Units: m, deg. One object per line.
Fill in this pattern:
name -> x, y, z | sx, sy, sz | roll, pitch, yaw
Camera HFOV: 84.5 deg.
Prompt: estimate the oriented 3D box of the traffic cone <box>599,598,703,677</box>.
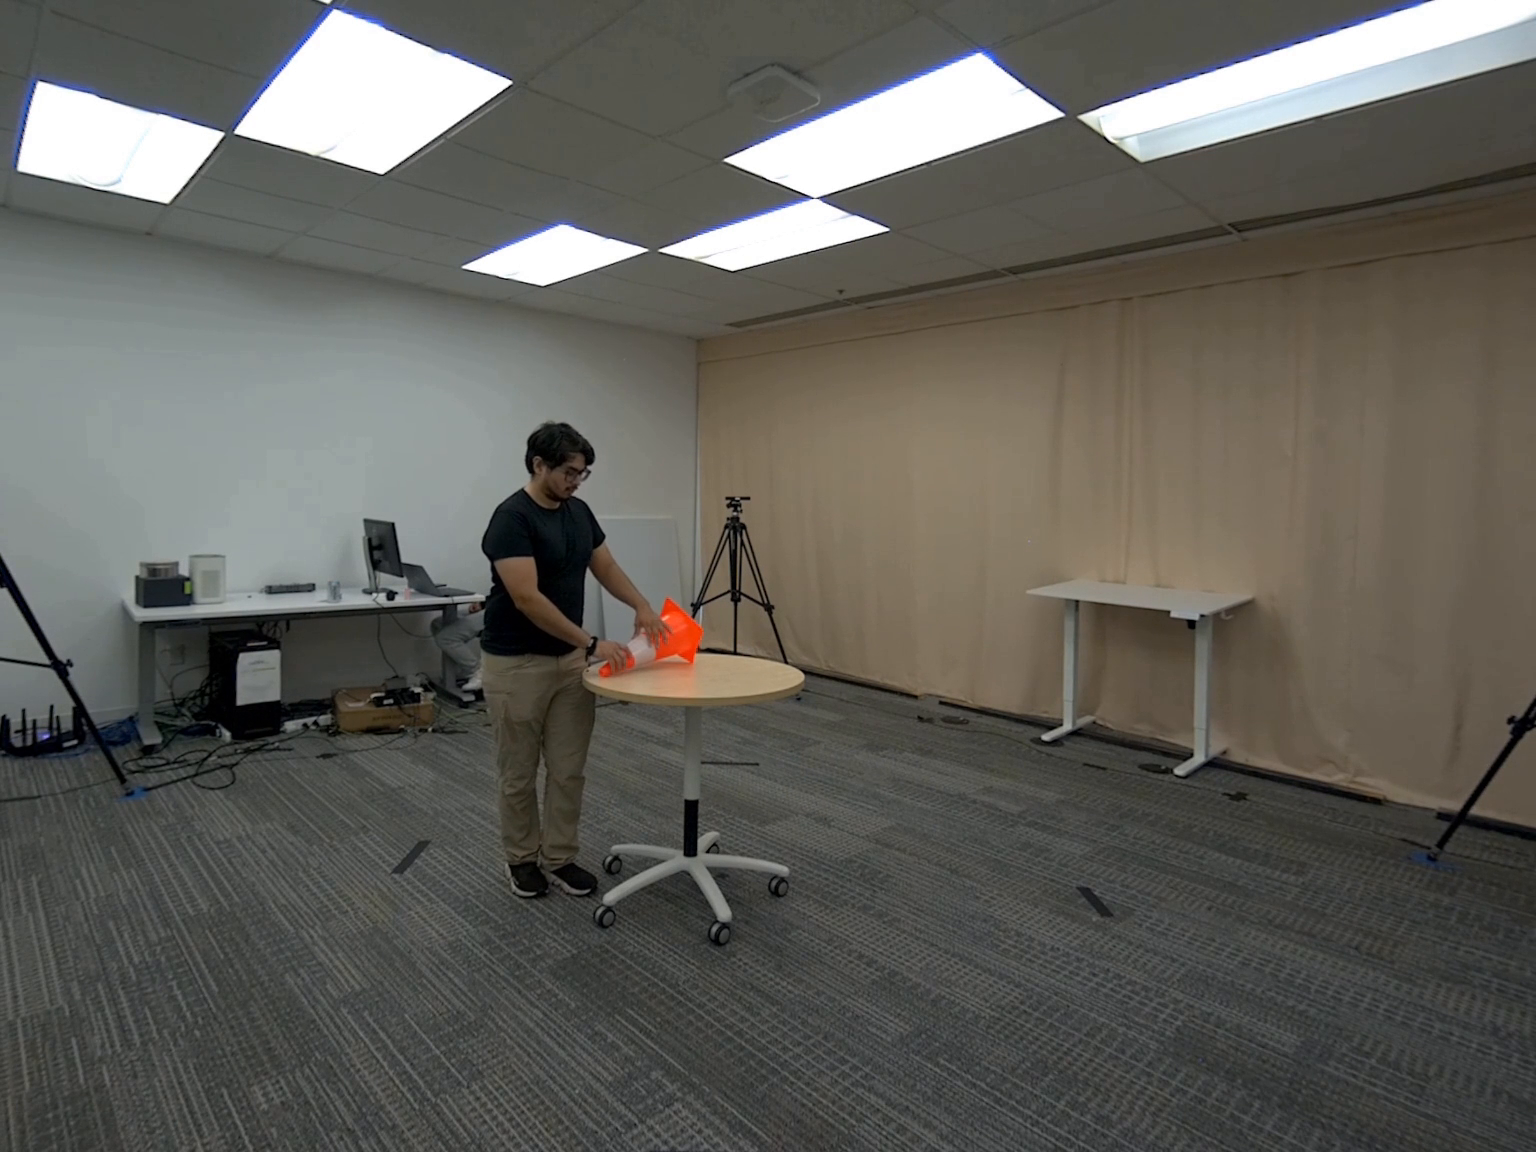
traffic cone -> -0.449, 0.271, 2.943 | 0.209, 0.201, 0.380 | 39, 43, 20
